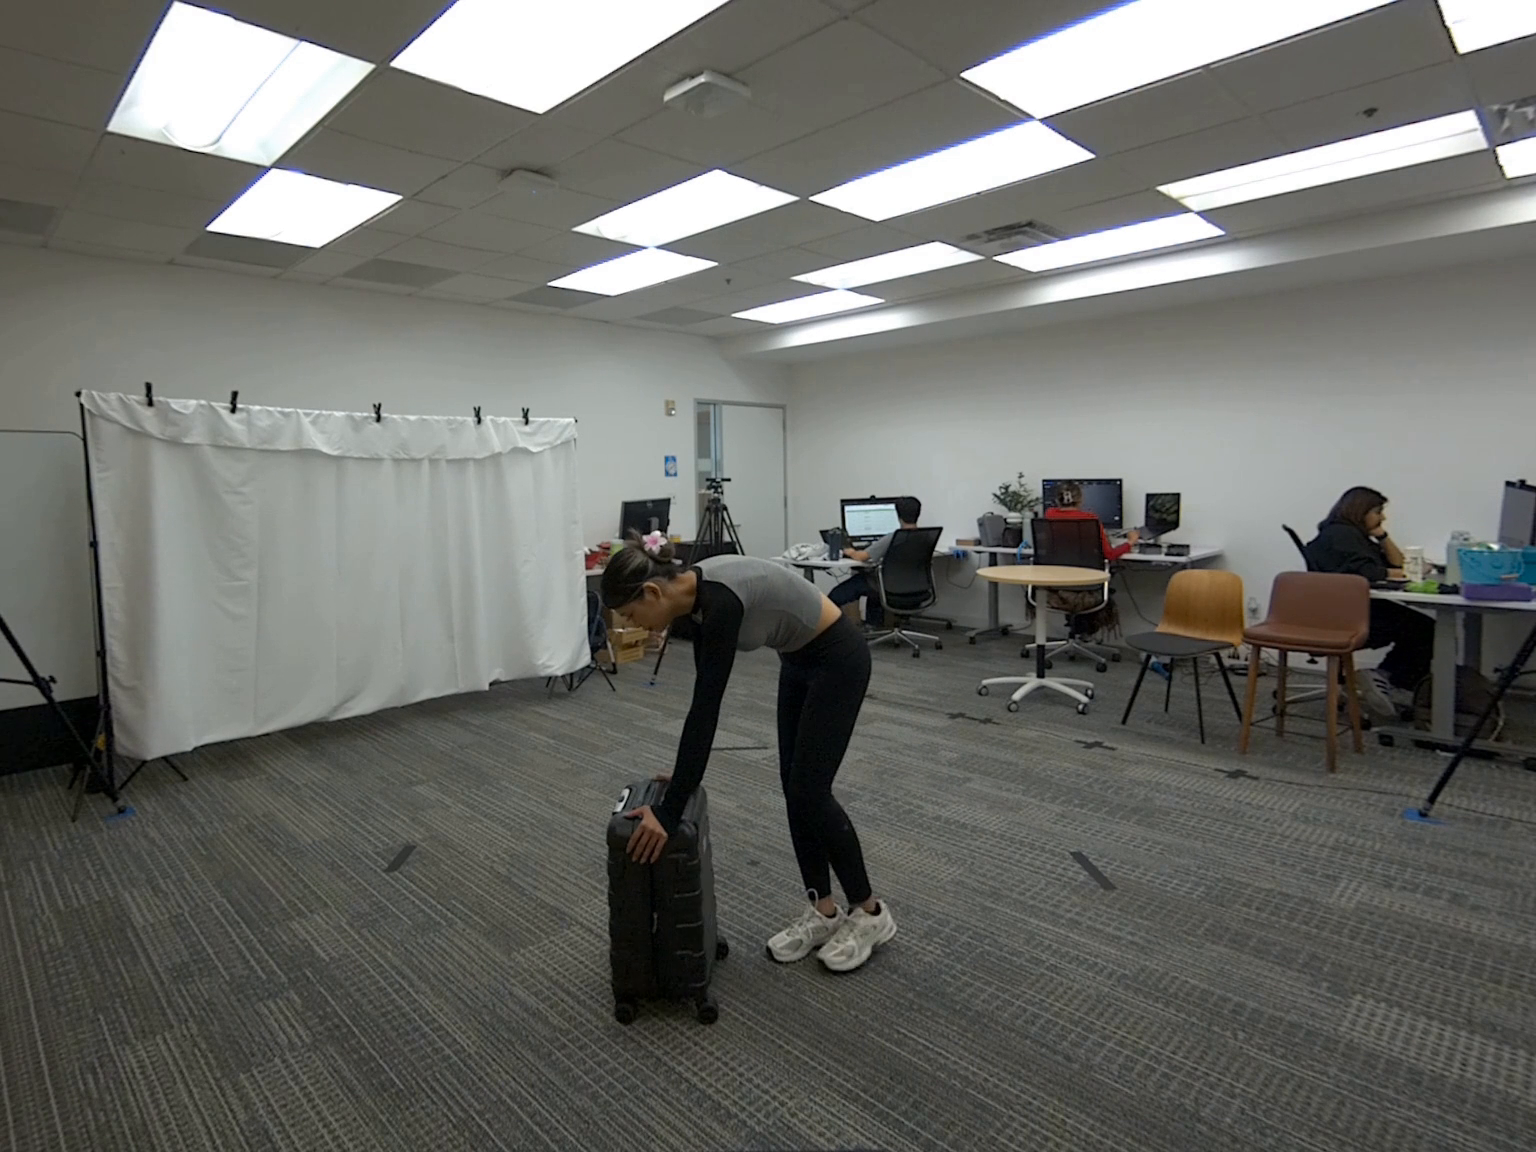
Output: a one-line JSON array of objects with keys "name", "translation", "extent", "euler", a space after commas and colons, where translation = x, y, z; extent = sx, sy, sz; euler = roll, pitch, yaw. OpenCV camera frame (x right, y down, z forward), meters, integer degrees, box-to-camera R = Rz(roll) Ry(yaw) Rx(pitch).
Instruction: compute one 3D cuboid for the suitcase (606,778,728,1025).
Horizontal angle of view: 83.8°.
[{"name": "suitcase", "translation": [-0.282, 0.865, 2.345], "extent": [0.249, 0.547, 0.376], "euler": [-4, 4, 1]}]
